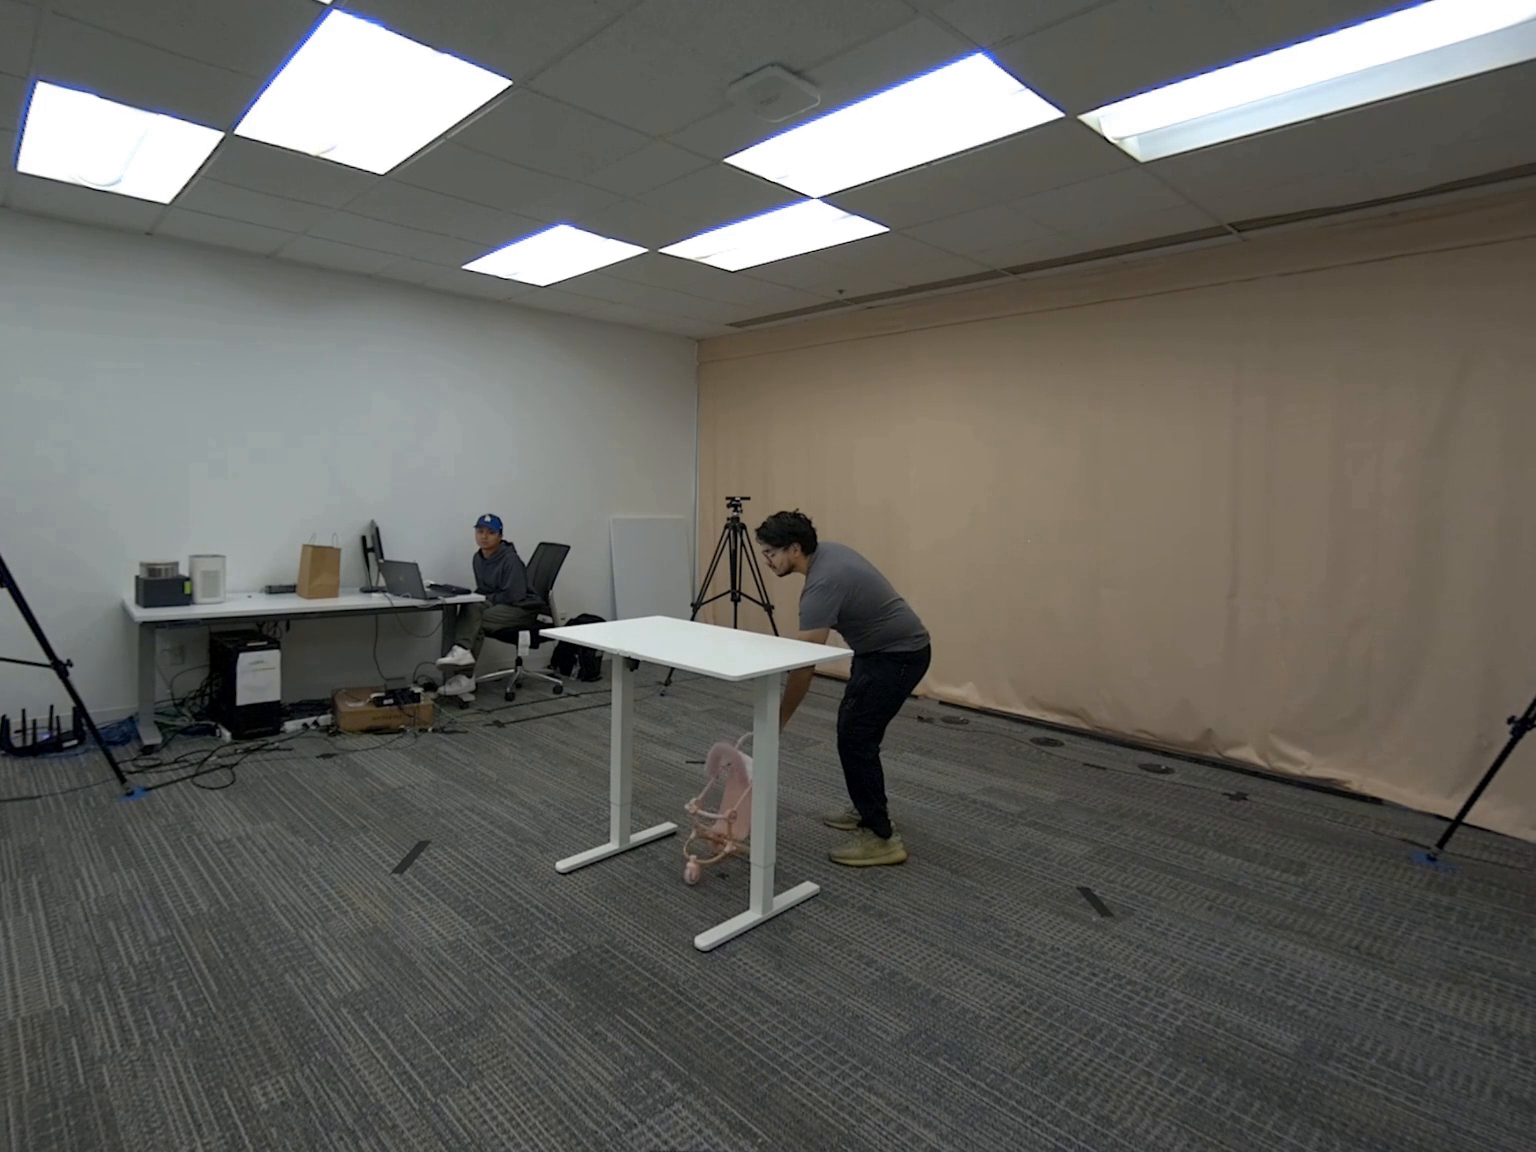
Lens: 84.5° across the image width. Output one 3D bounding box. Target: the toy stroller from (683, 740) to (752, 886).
[{"bbox_3d":[-0.161,0.867,3.147,0.332,0.537,0.288,12,-7,-41],"label":"toy stroller"}]
